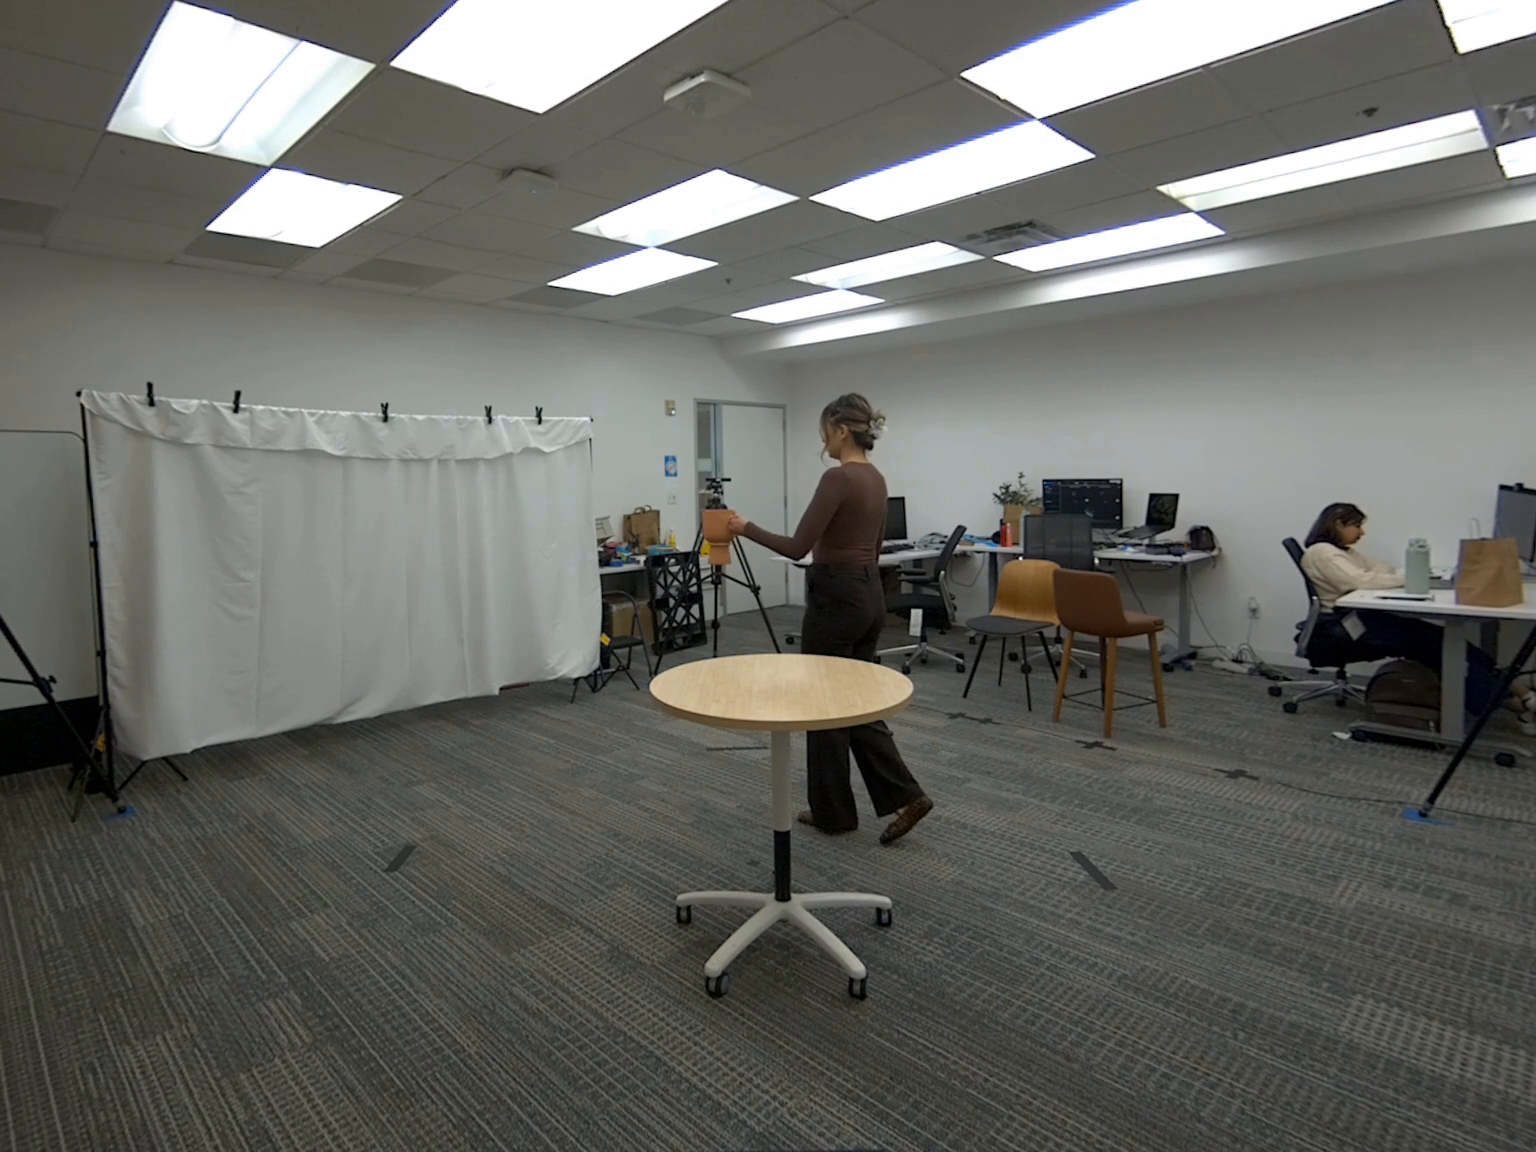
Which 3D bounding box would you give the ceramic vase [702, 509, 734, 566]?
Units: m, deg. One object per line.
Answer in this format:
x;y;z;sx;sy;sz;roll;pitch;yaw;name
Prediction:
-0.188;-0.161;3.482;0.134;0.219;0.160;-1;4;-7;ceramic vase
